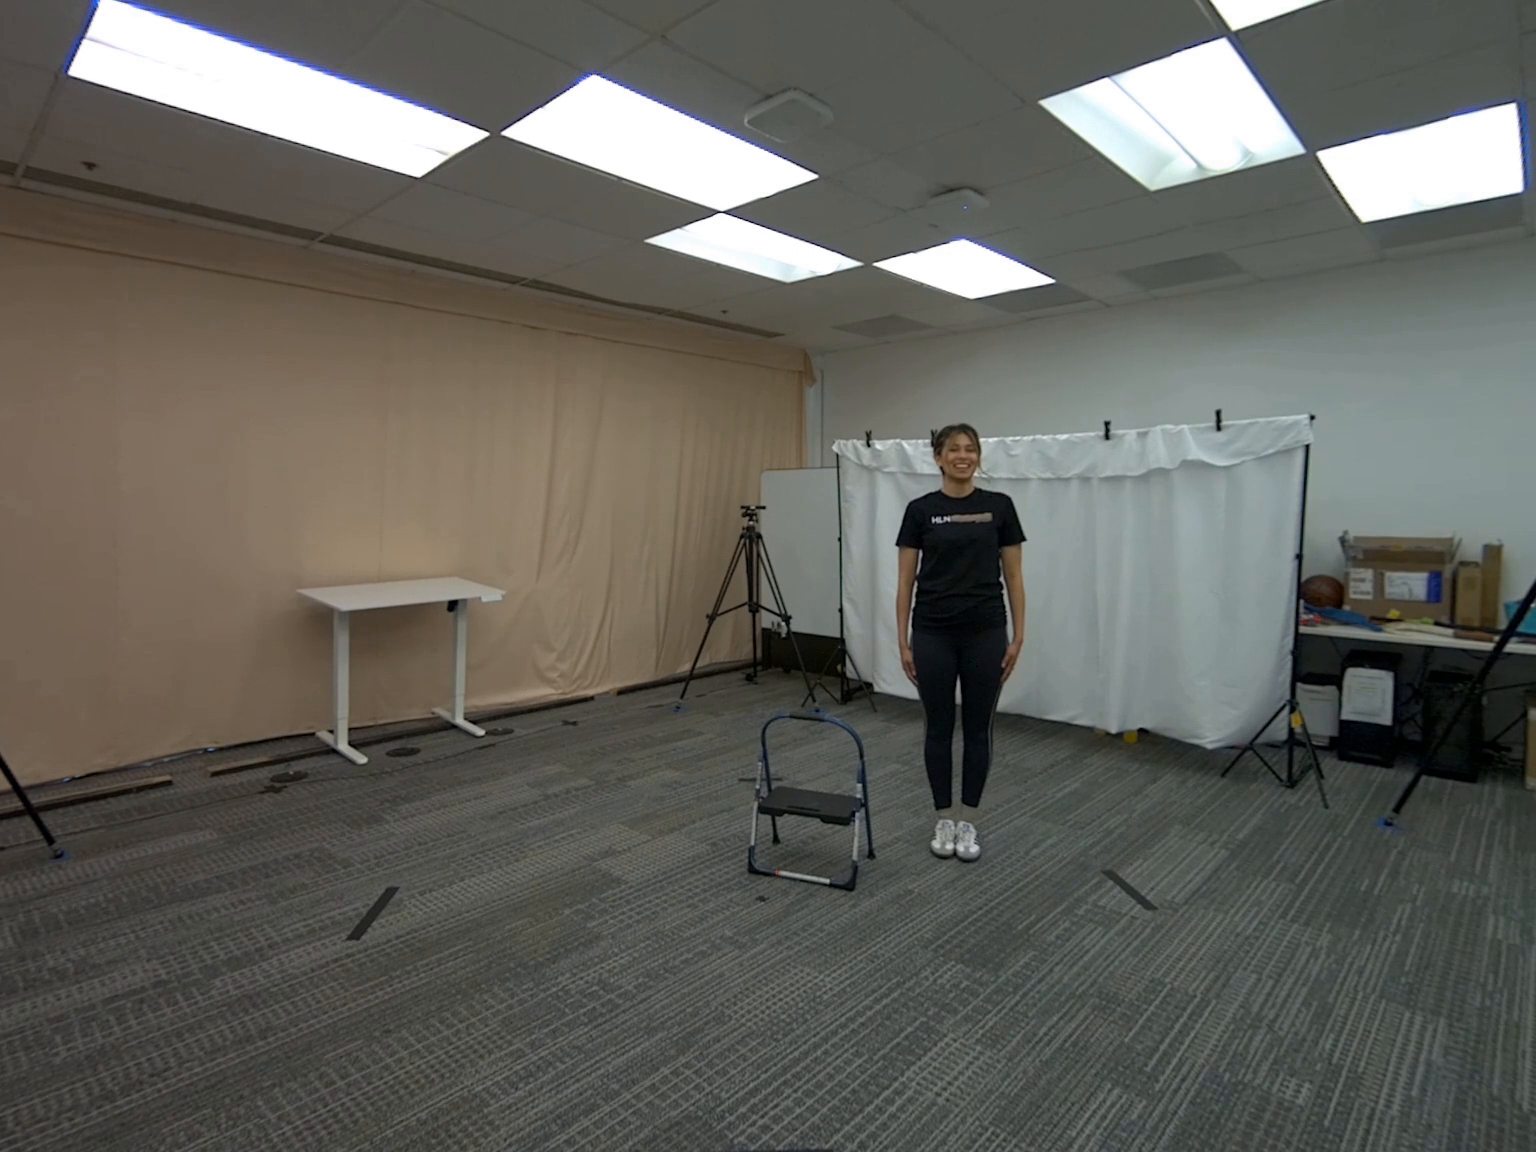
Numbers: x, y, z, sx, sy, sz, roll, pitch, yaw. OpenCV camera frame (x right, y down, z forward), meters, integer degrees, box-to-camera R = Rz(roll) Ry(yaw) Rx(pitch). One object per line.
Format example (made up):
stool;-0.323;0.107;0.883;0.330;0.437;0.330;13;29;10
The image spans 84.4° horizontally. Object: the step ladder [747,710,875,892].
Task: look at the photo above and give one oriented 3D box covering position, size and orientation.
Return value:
step ladder;0.176;0.815;3.253;0.440;0.605;0.342;1;3;20
